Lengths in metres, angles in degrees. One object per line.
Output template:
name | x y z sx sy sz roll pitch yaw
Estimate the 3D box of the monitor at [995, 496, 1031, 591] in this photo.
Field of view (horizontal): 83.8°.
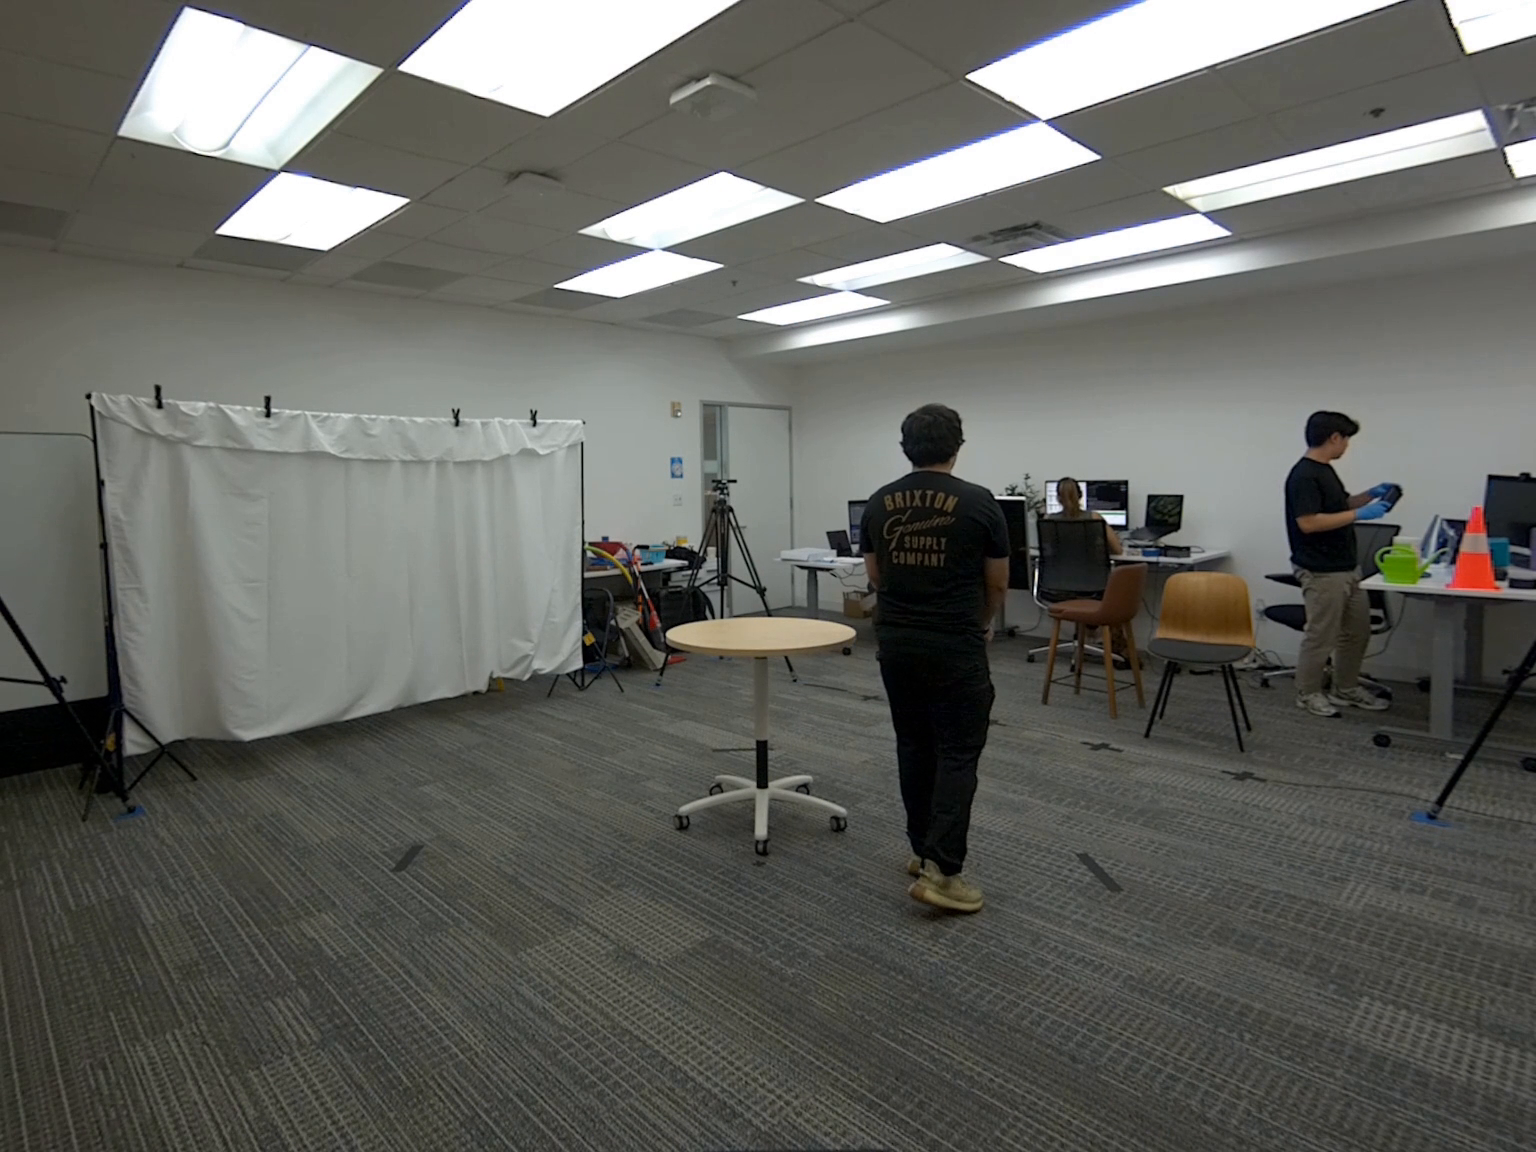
monitor | 0.643 -0.021 3.093 0.581 0.543 0.208 5 24 30
